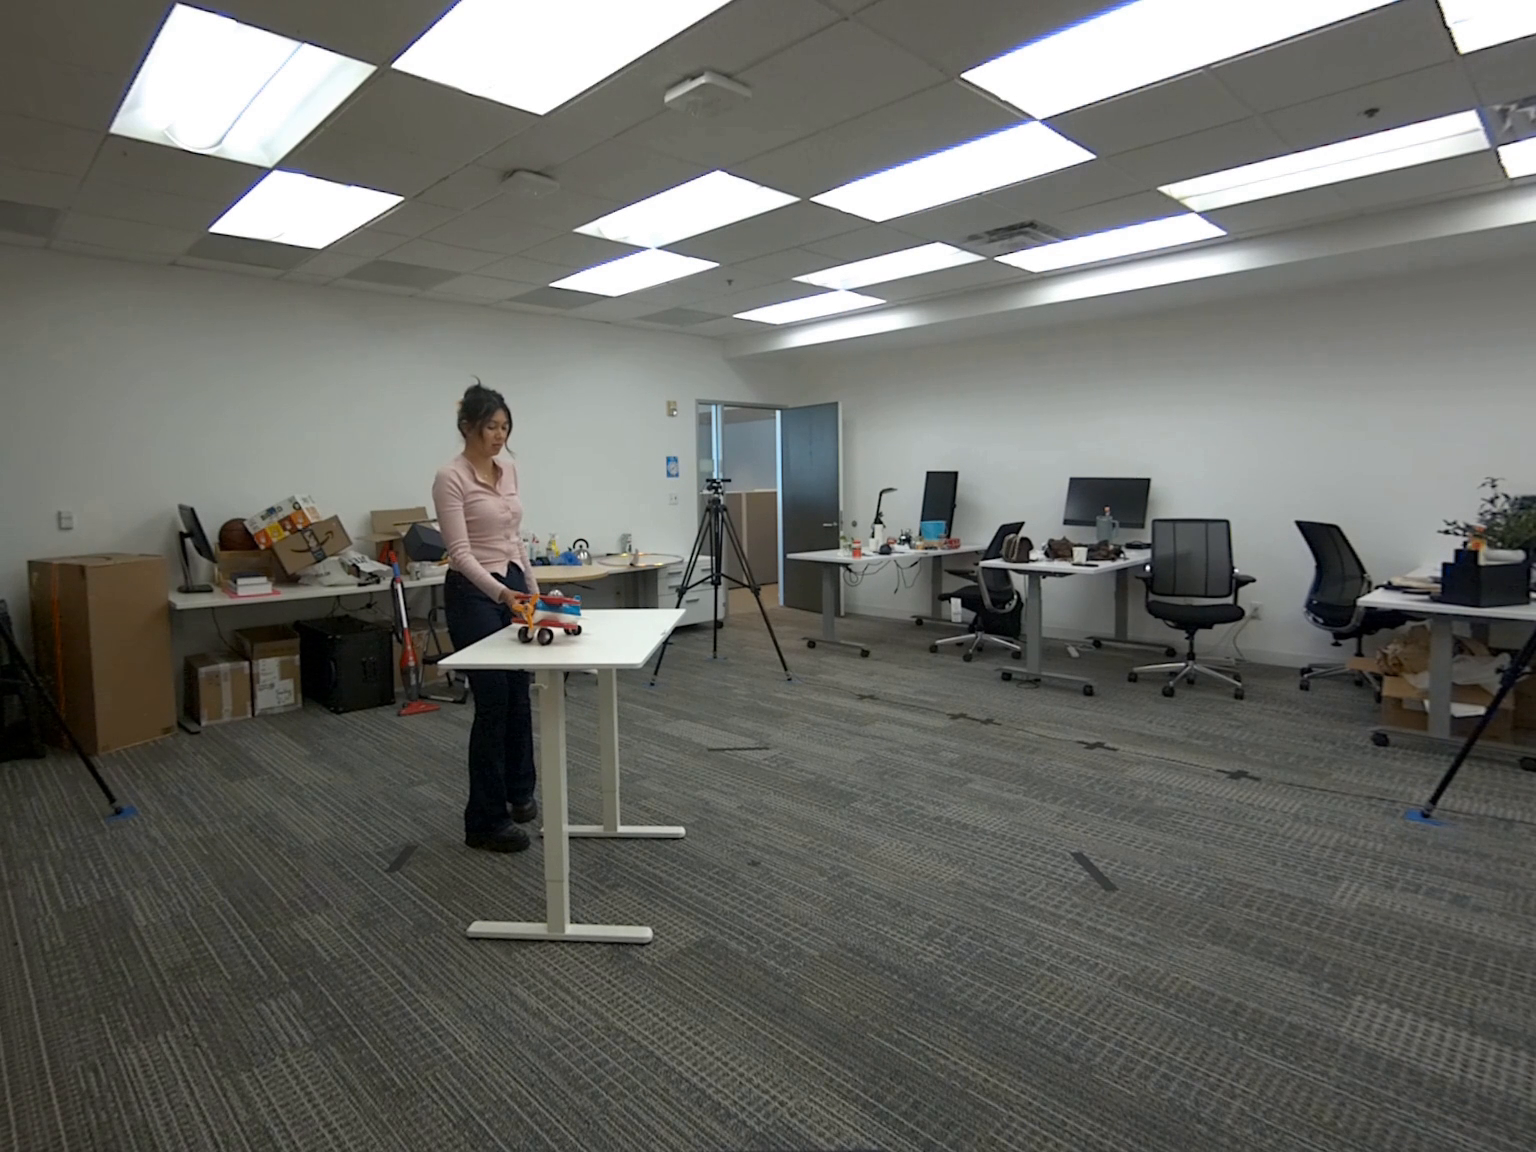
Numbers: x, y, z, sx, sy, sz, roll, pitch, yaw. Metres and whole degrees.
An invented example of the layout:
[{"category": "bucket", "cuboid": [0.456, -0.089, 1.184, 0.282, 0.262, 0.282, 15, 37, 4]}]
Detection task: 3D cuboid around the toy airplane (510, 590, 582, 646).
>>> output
[{"category": "toy airplane", "cuboid": [-0.721, 0.132, 2.819, 0.252, 0.155, 0.260, -1, 7, 2]}]
